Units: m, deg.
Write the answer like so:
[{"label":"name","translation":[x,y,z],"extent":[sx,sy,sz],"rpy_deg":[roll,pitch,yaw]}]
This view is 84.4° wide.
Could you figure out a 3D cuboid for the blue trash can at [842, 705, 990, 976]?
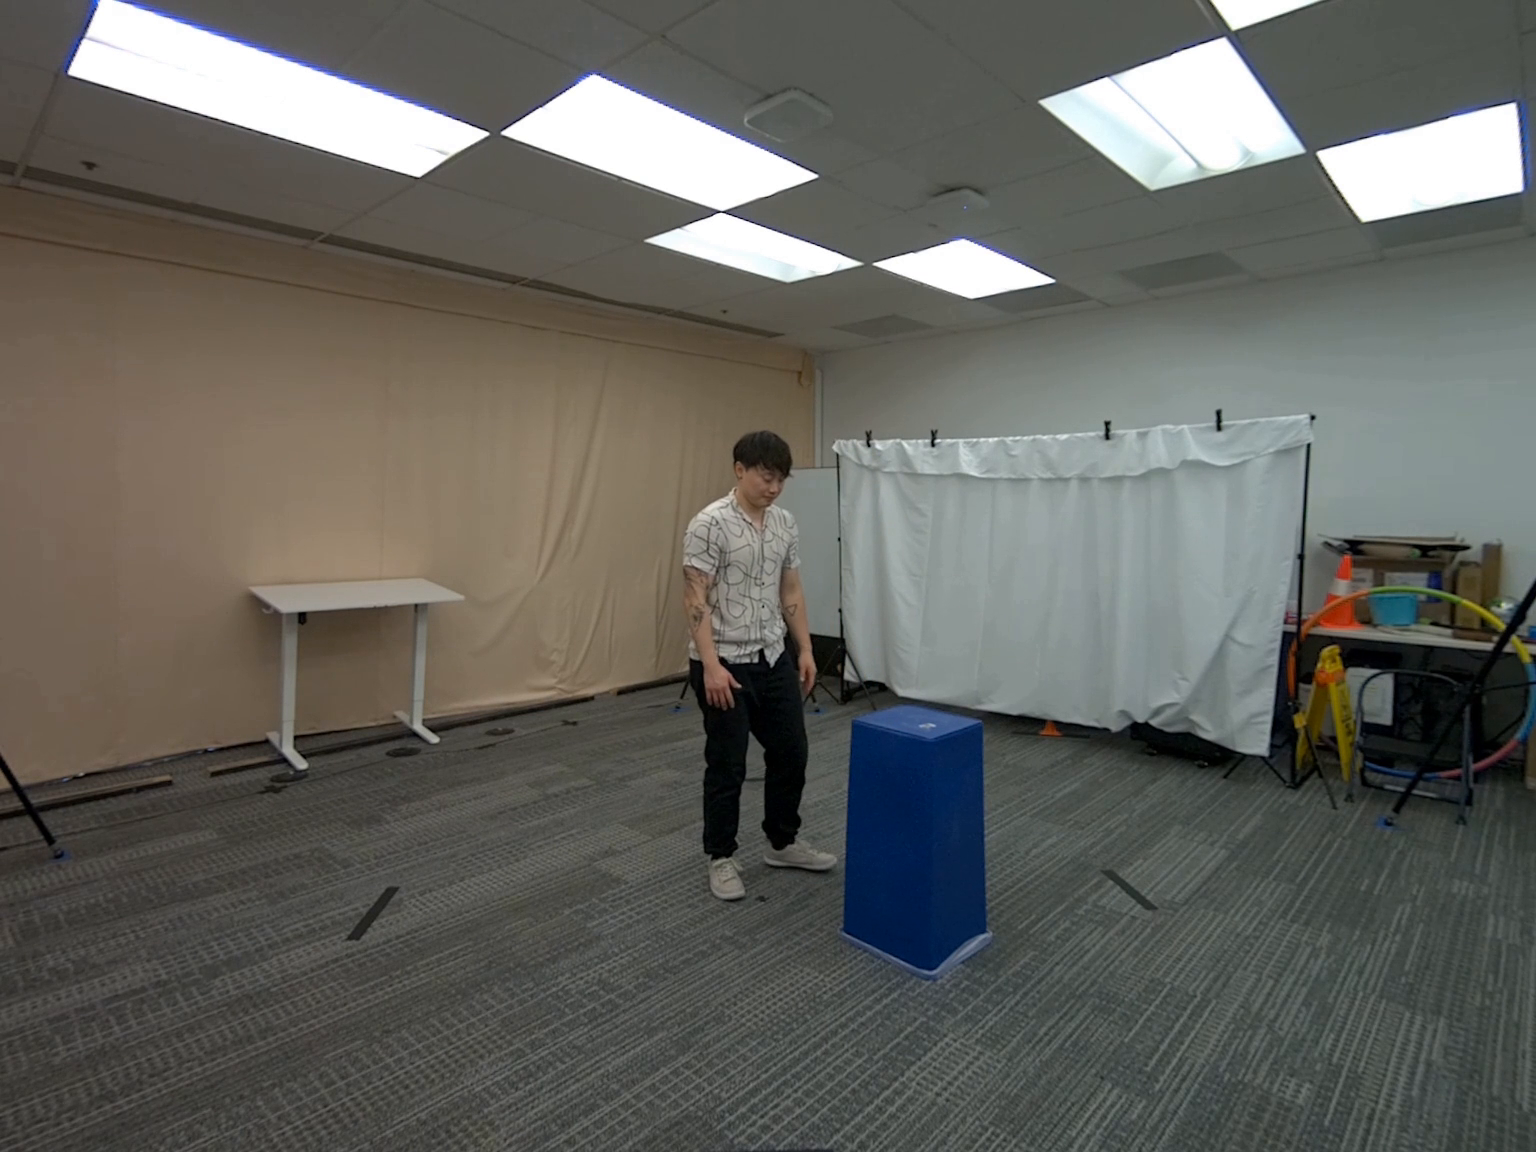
[{"label":"blue trash can","translation":[0.487,0.810,2.693],"extent":[0.362,0.712,0.391],"rpy_deg":[-3,5,-44]}]
